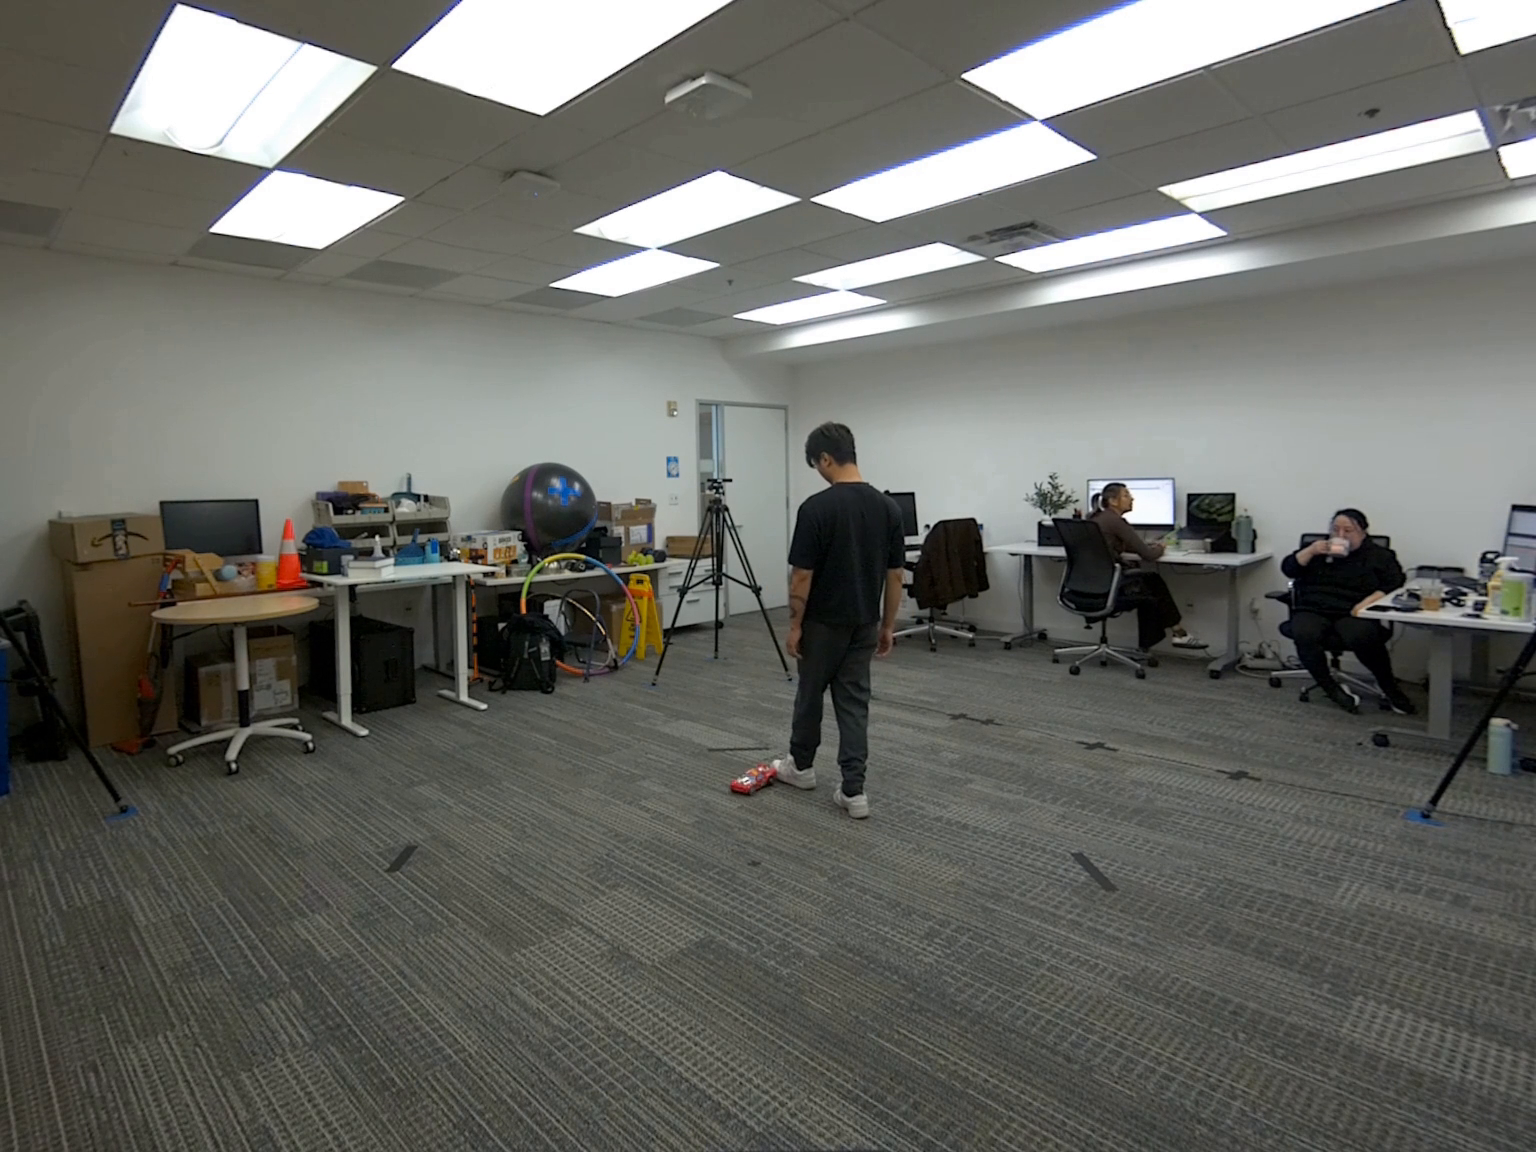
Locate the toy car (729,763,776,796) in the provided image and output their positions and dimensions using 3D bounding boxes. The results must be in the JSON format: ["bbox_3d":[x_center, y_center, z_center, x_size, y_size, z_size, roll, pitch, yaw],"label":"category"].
[{"bbox_3d":[-0.062,0.925,3.881,0.134,0.082,0.251,2,19,37],"label":"toy car"}]
